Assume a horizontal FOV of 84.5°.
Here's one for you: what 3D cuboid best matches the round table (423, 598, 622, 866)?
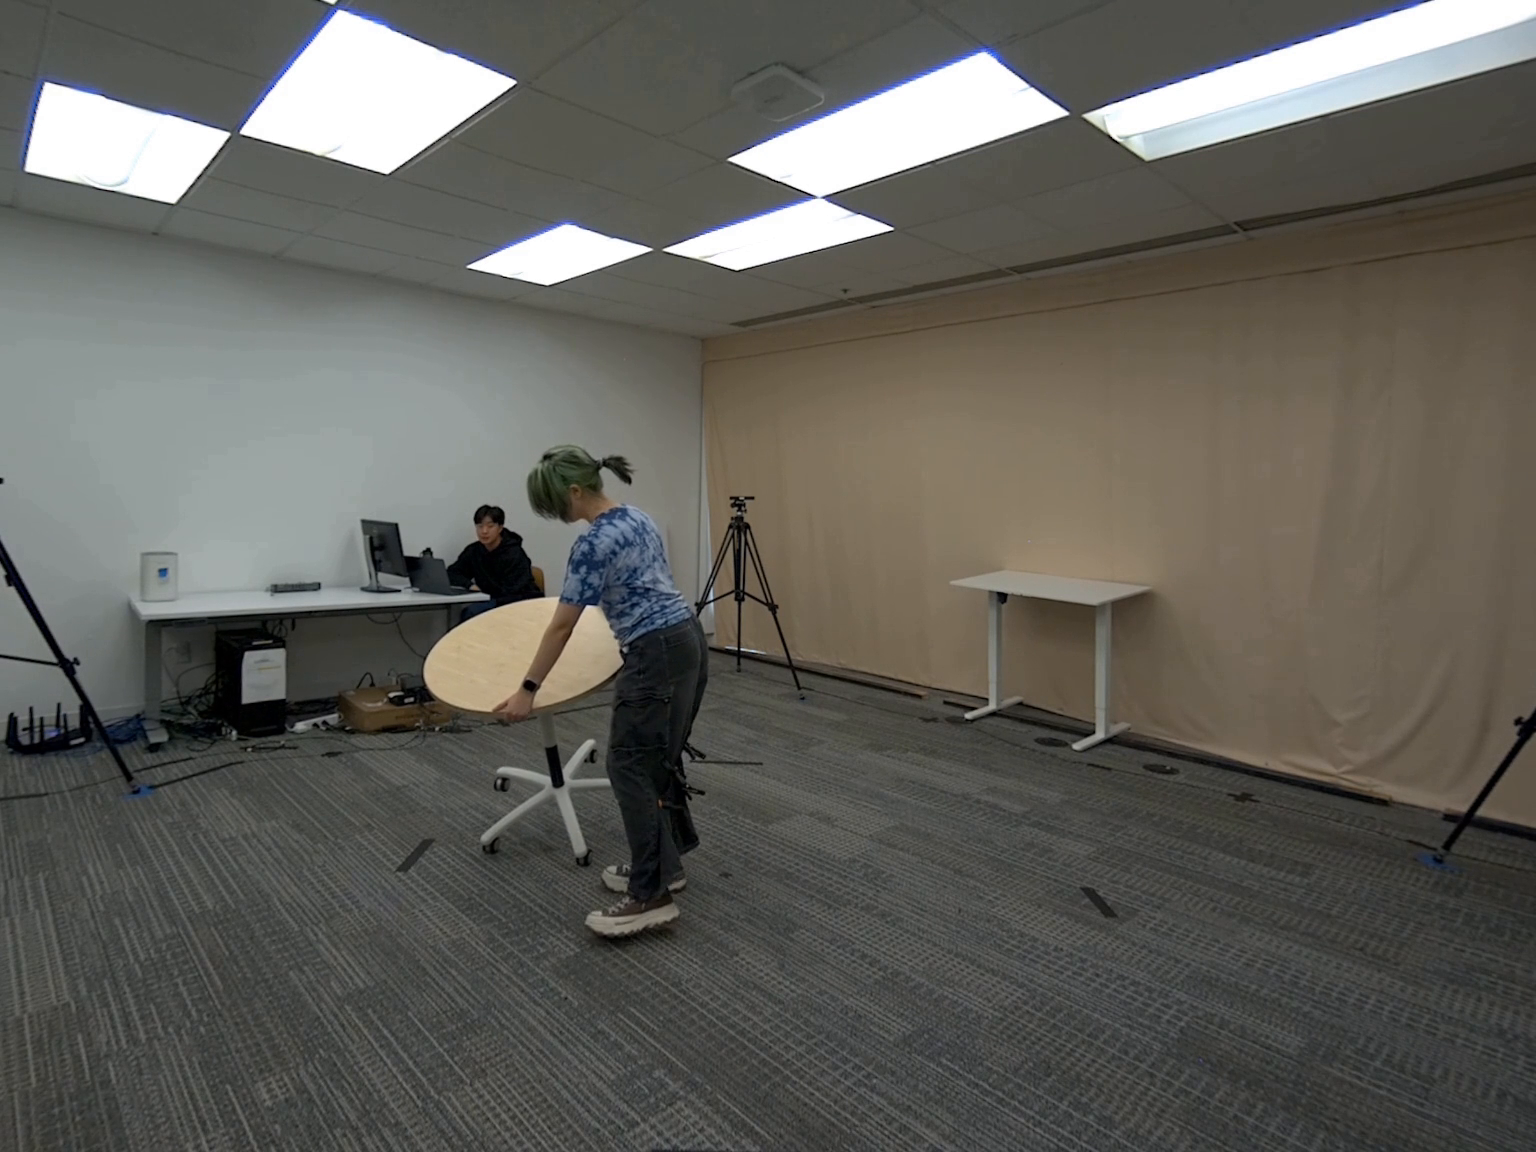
[{"bbox_3d":[-0.868,0.618,3.277,0.764,0.779,0.777,-3,26,0],"label":"round table"}]
